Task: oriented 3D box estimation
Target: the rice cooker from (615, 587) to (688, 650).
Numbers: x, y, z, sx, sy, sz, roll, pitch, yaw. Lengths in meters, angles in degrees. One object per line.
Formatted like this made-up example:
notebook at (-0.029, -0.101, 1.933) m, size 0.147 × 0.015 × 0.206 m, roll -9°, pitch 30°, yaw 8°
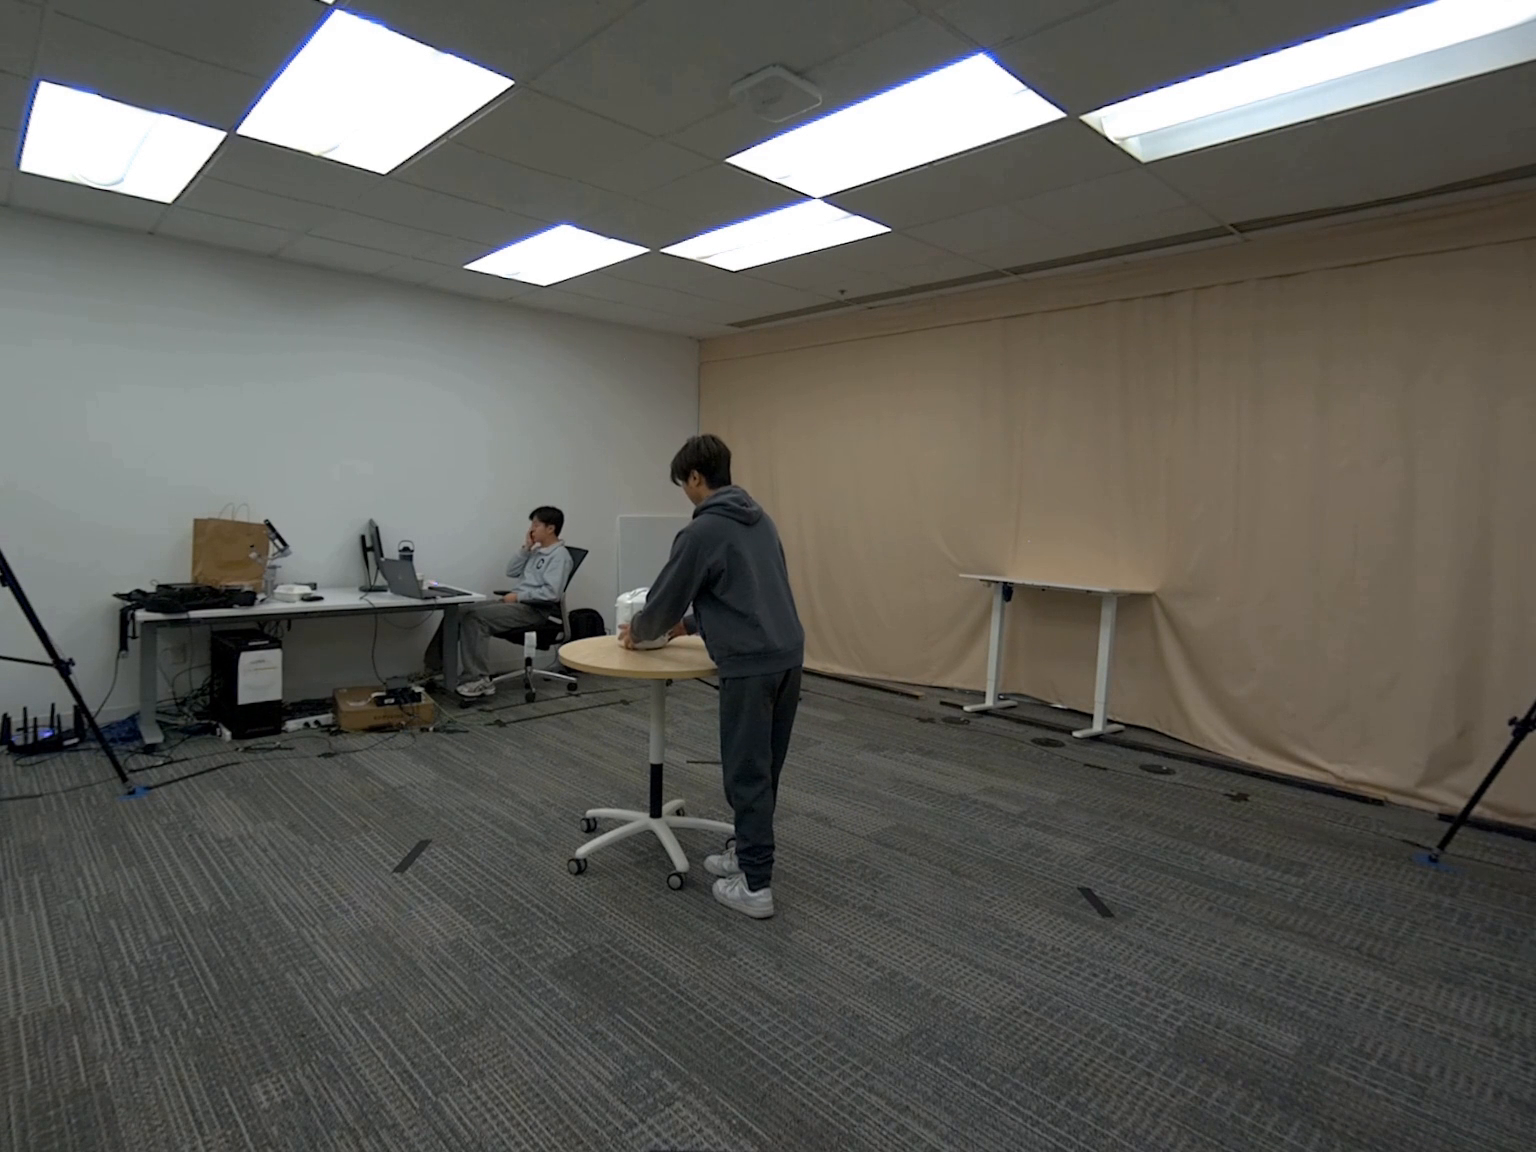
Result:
rice cooker at (-0.493, 0.163, 3.326) m, size 0.222 × 0.232 × 0.217 m, roll 3°, pitch 4°, yaw 26°
